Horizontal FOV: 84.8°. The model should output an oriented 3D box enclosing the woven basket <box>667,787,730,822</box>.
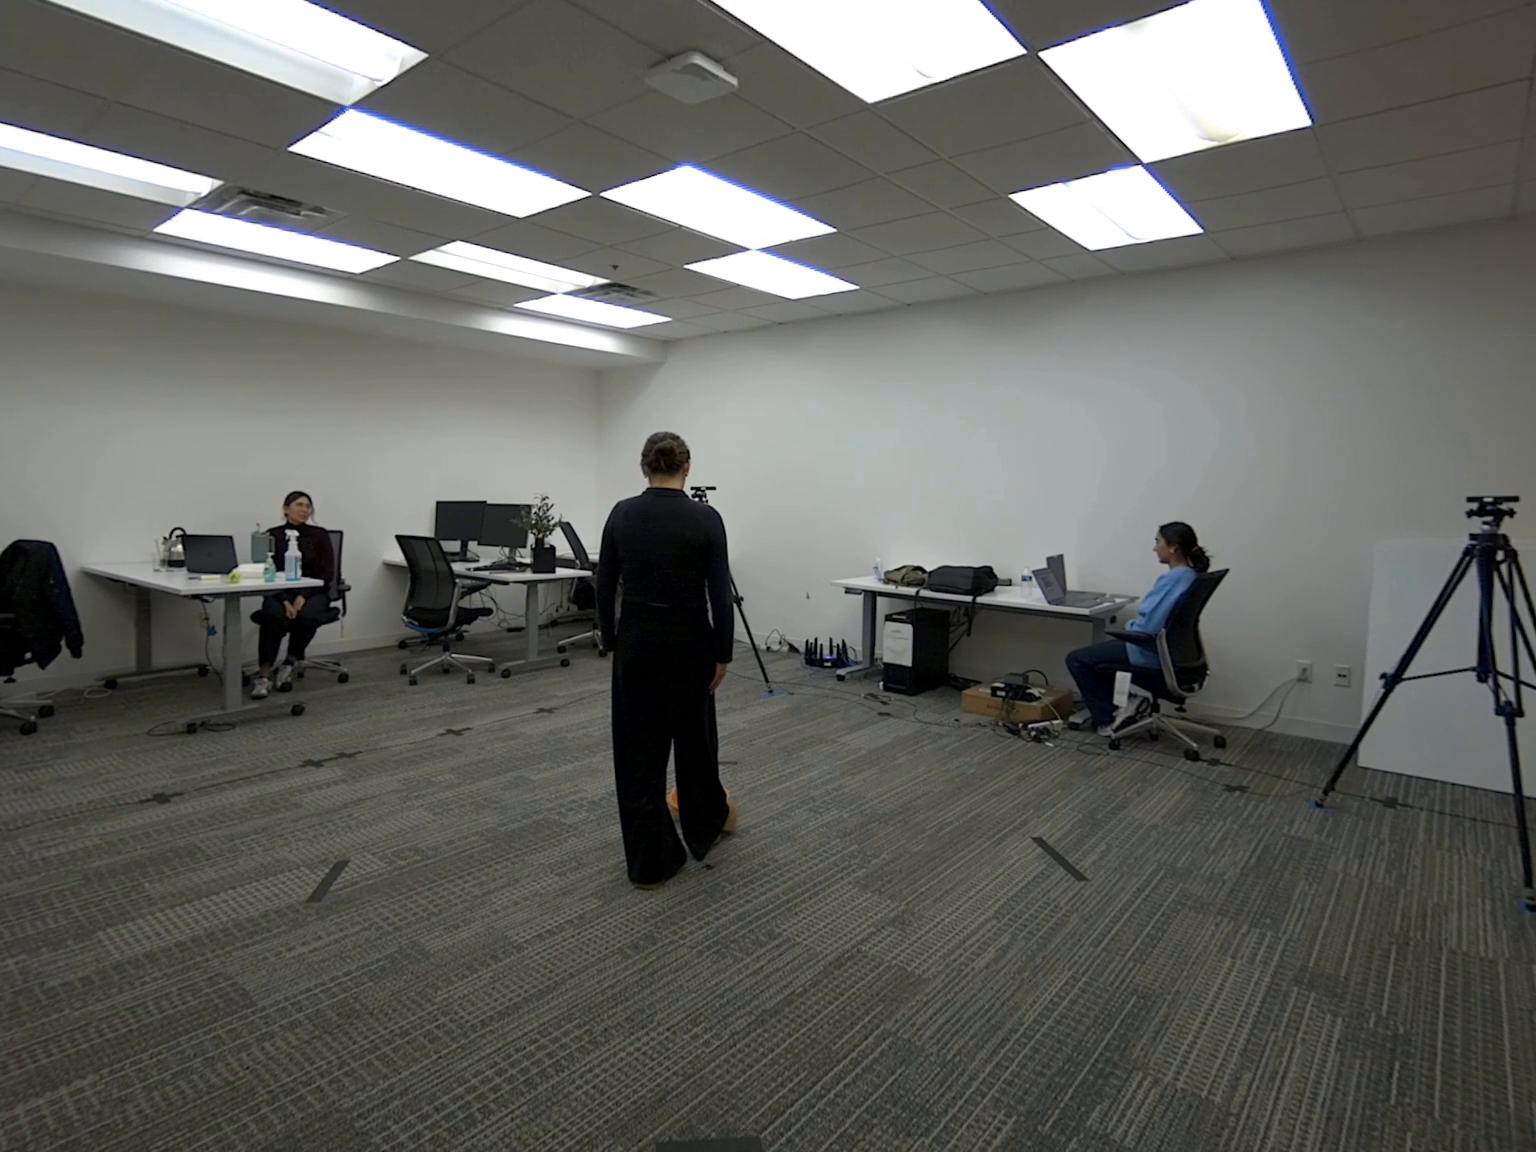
[{"bbox_3d":[-0.301,0.967,3.641,0.255,0.073,0.348,2,6,8],"label":"woven basket"}]
